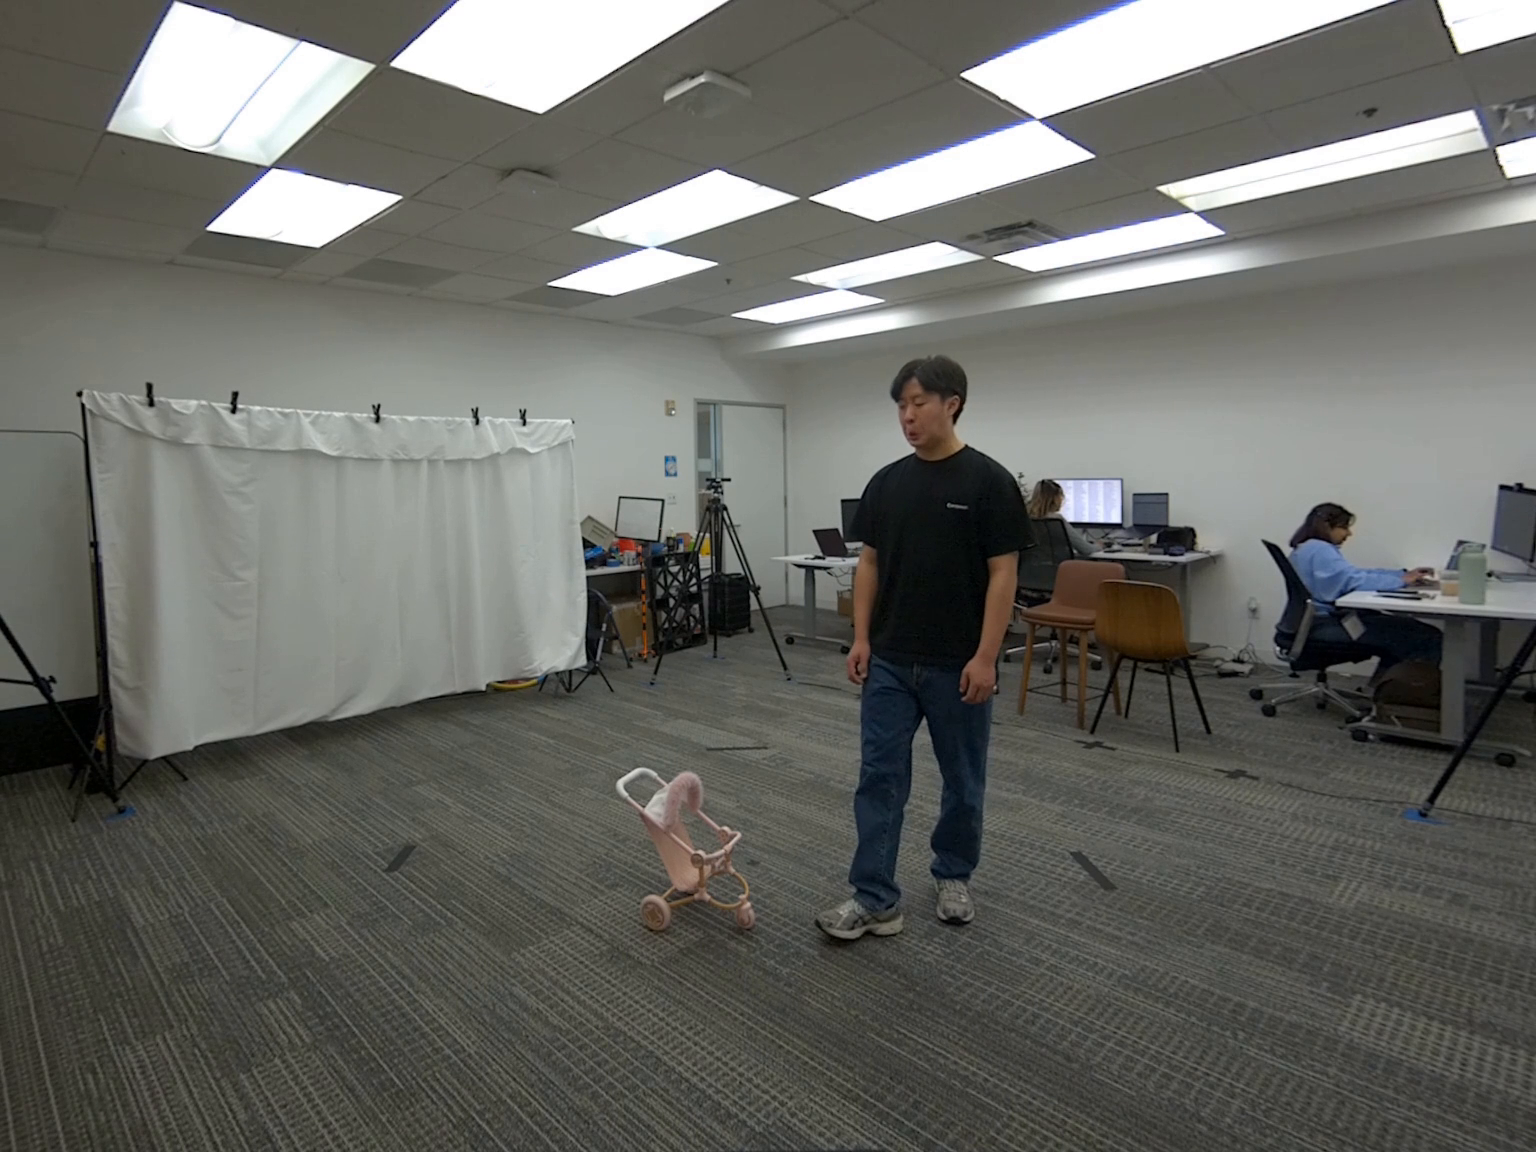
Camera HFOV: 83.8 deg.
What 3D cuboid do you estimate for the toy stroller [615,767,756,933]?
[{"bbox_3d":[-0.243,0.868,2.722,0.347,0.537,0.275,-17,-4,29],"label":"toy stroller"}]
